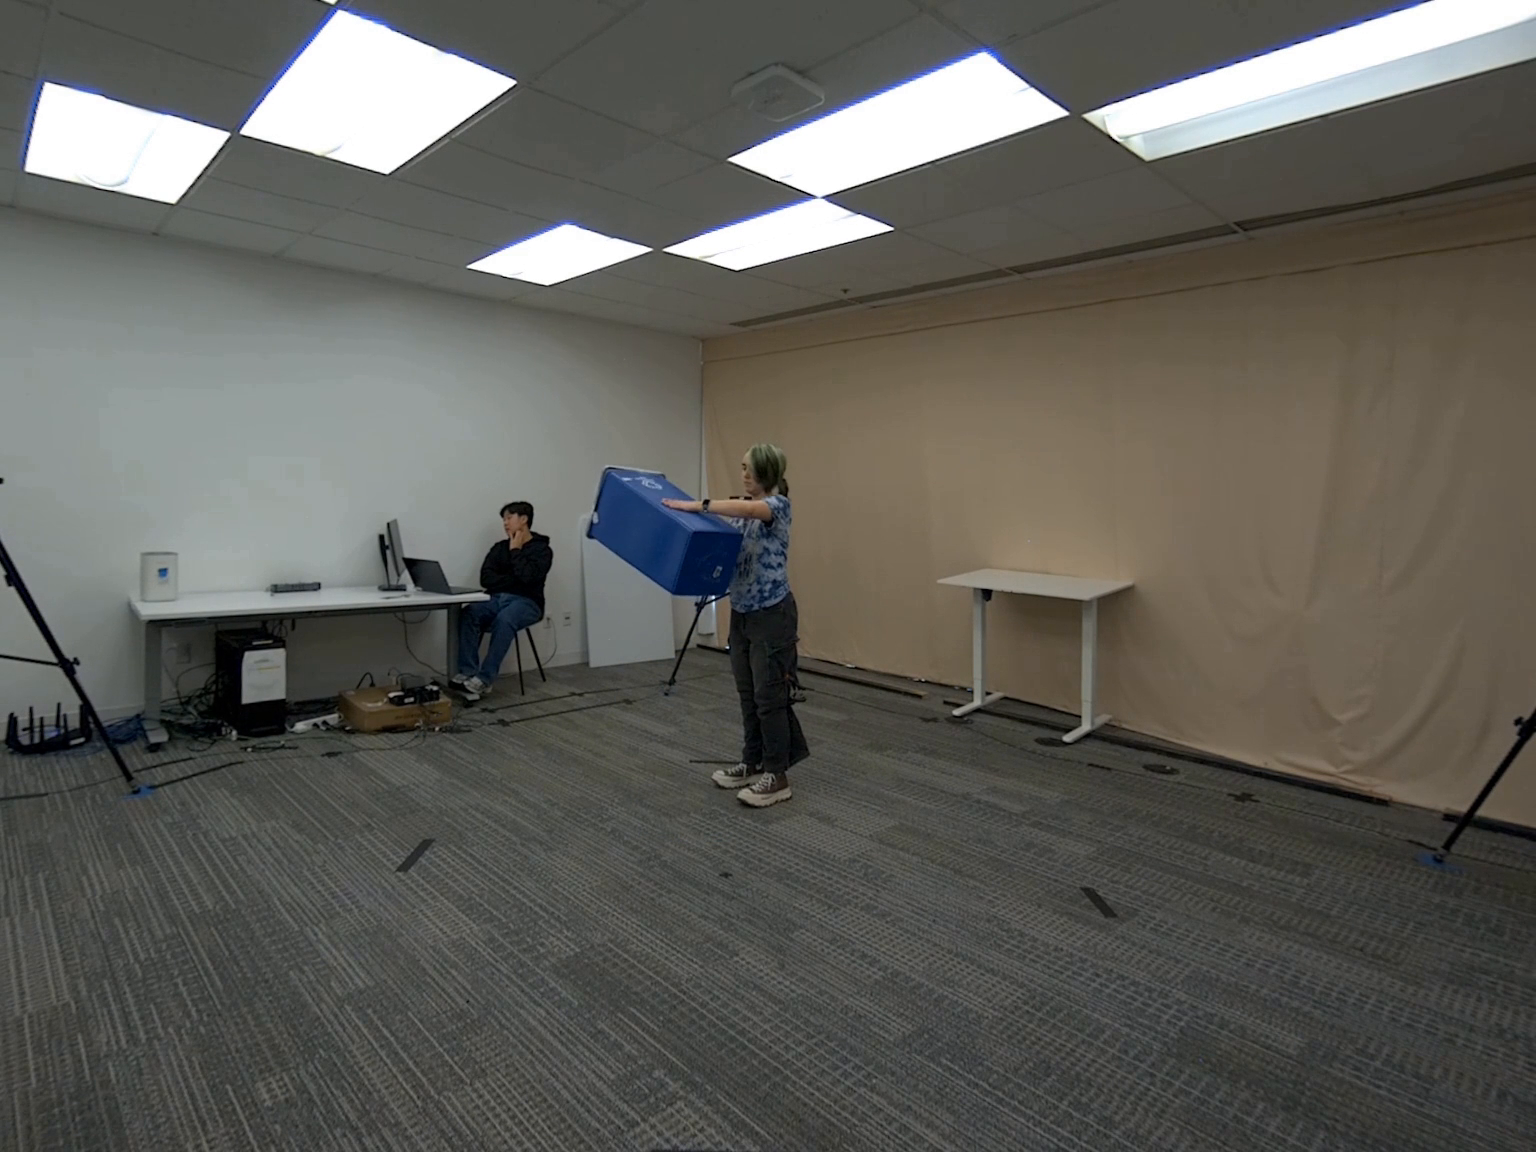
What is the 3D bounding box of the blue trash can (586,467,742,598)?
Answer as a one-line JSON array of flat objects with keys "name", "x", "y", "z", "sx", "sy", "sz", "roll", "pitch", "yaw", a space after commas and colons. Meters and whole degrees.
[{"name": "blue trash can", "x": -0.480, "y": -0.195, "z": 3.860, "sx": 0.365, "sy": 0.375, "sz": 0.737, "roll": 4, "pitch": 23, "yaw": -44}]
